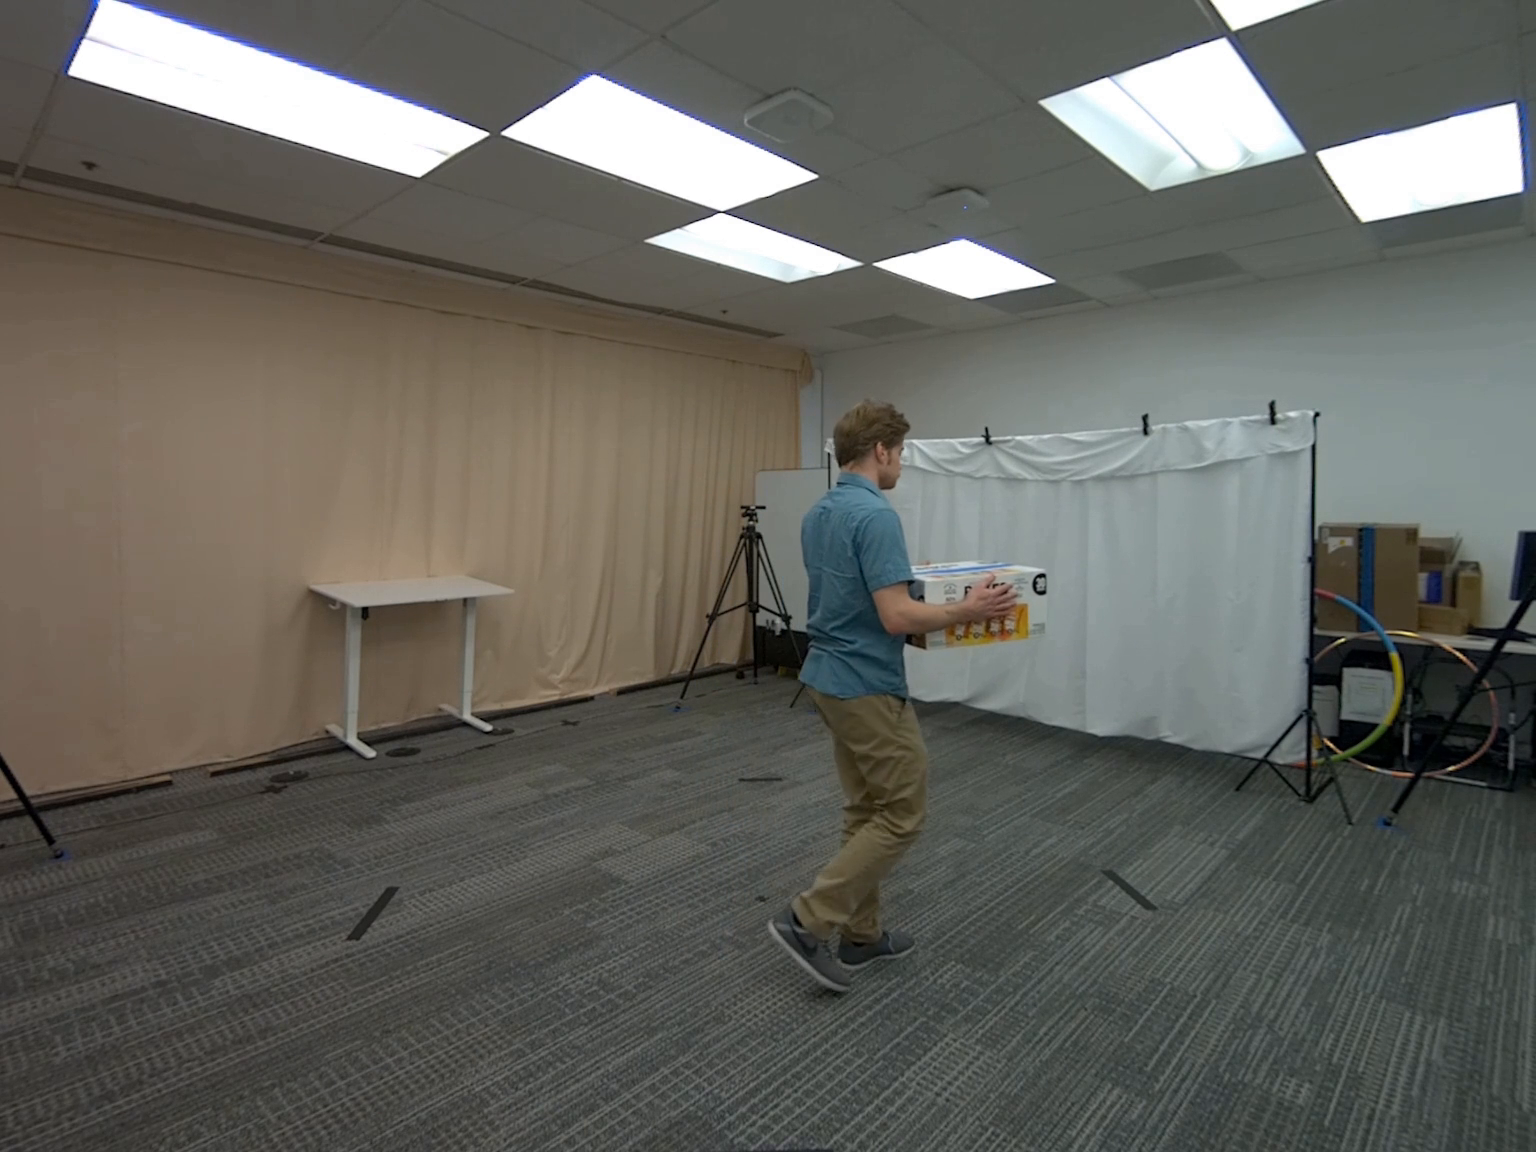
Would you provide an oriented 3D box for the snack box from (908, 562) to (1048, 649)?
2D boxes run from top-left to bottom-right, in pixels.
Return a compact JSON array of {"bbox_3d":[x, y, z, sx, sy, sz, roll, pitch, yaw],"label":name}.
[{"bbox_3d":[0.585,0.084,2.592,0.398,0.205,0.347,-4,7,-17],"label":"snack box"}]
